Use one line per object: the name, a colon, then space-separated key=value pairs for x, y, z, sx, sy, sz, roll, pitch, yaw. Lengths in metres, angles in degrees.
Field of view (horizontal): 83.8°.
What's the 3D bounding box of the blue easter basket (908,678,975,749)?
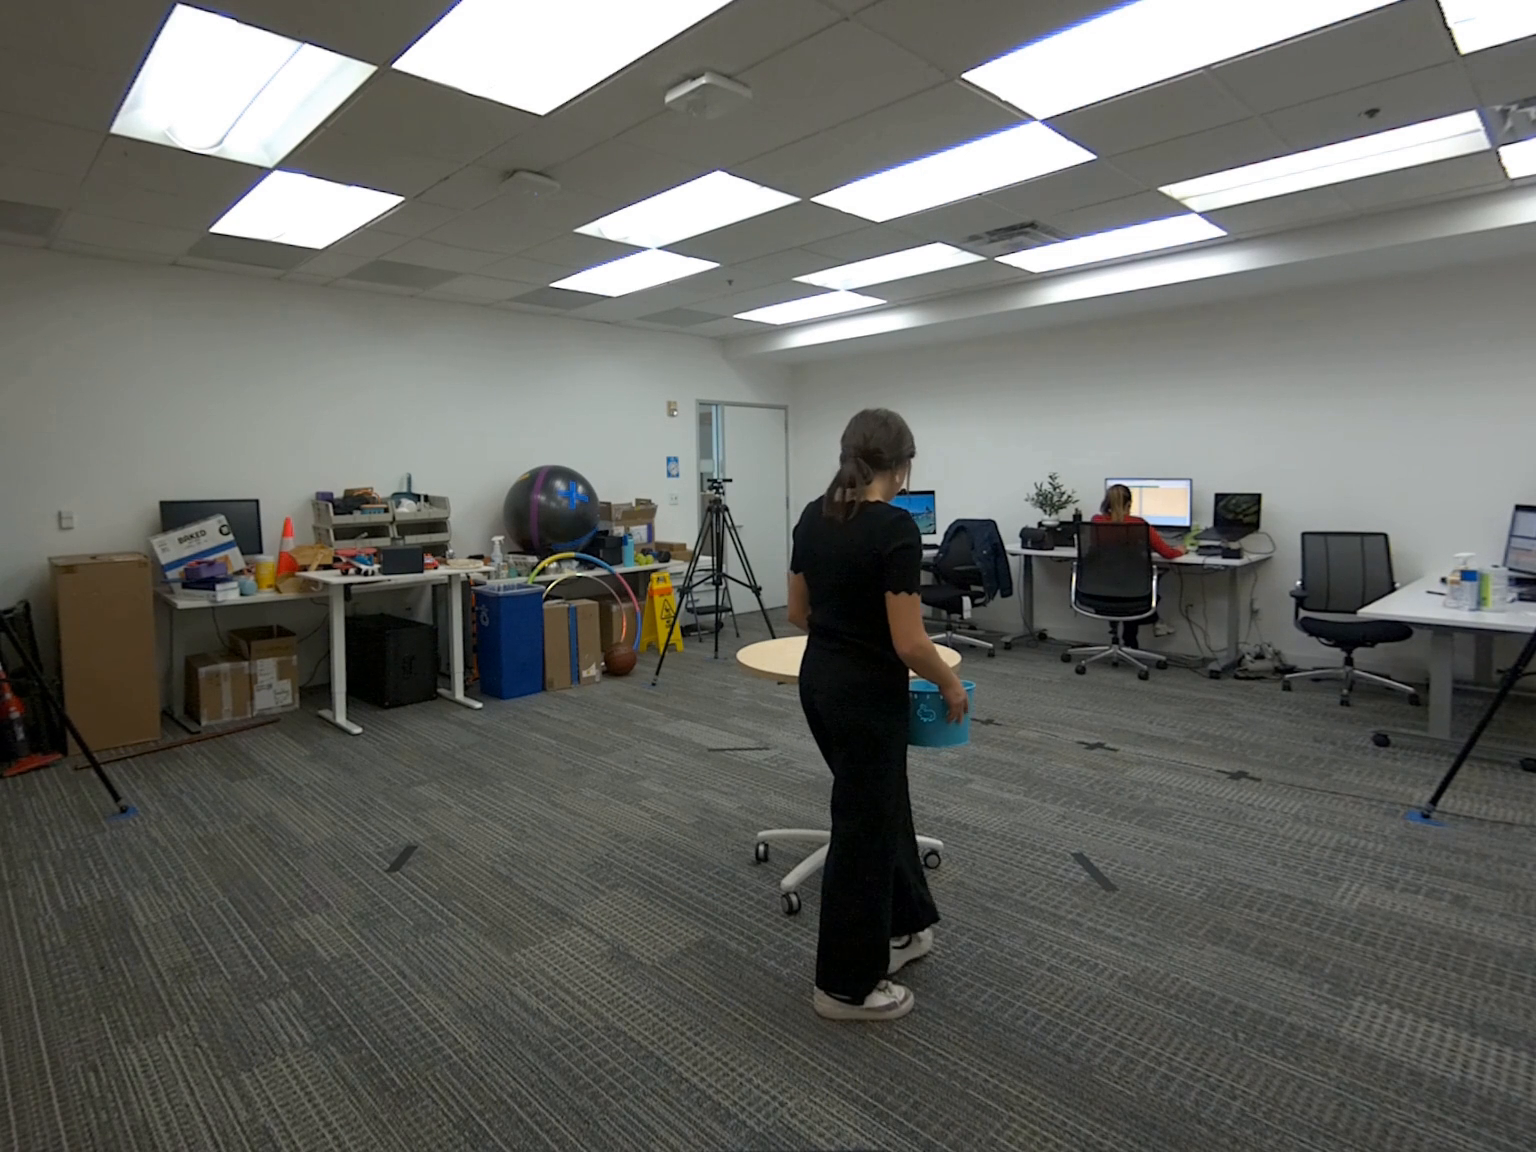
blue easter basket: x=0.452 y=0.370 z=2.351 sx=0.243 sy=0.155 sz=0.245 roll=-3 pitch=5 yaw=-1
